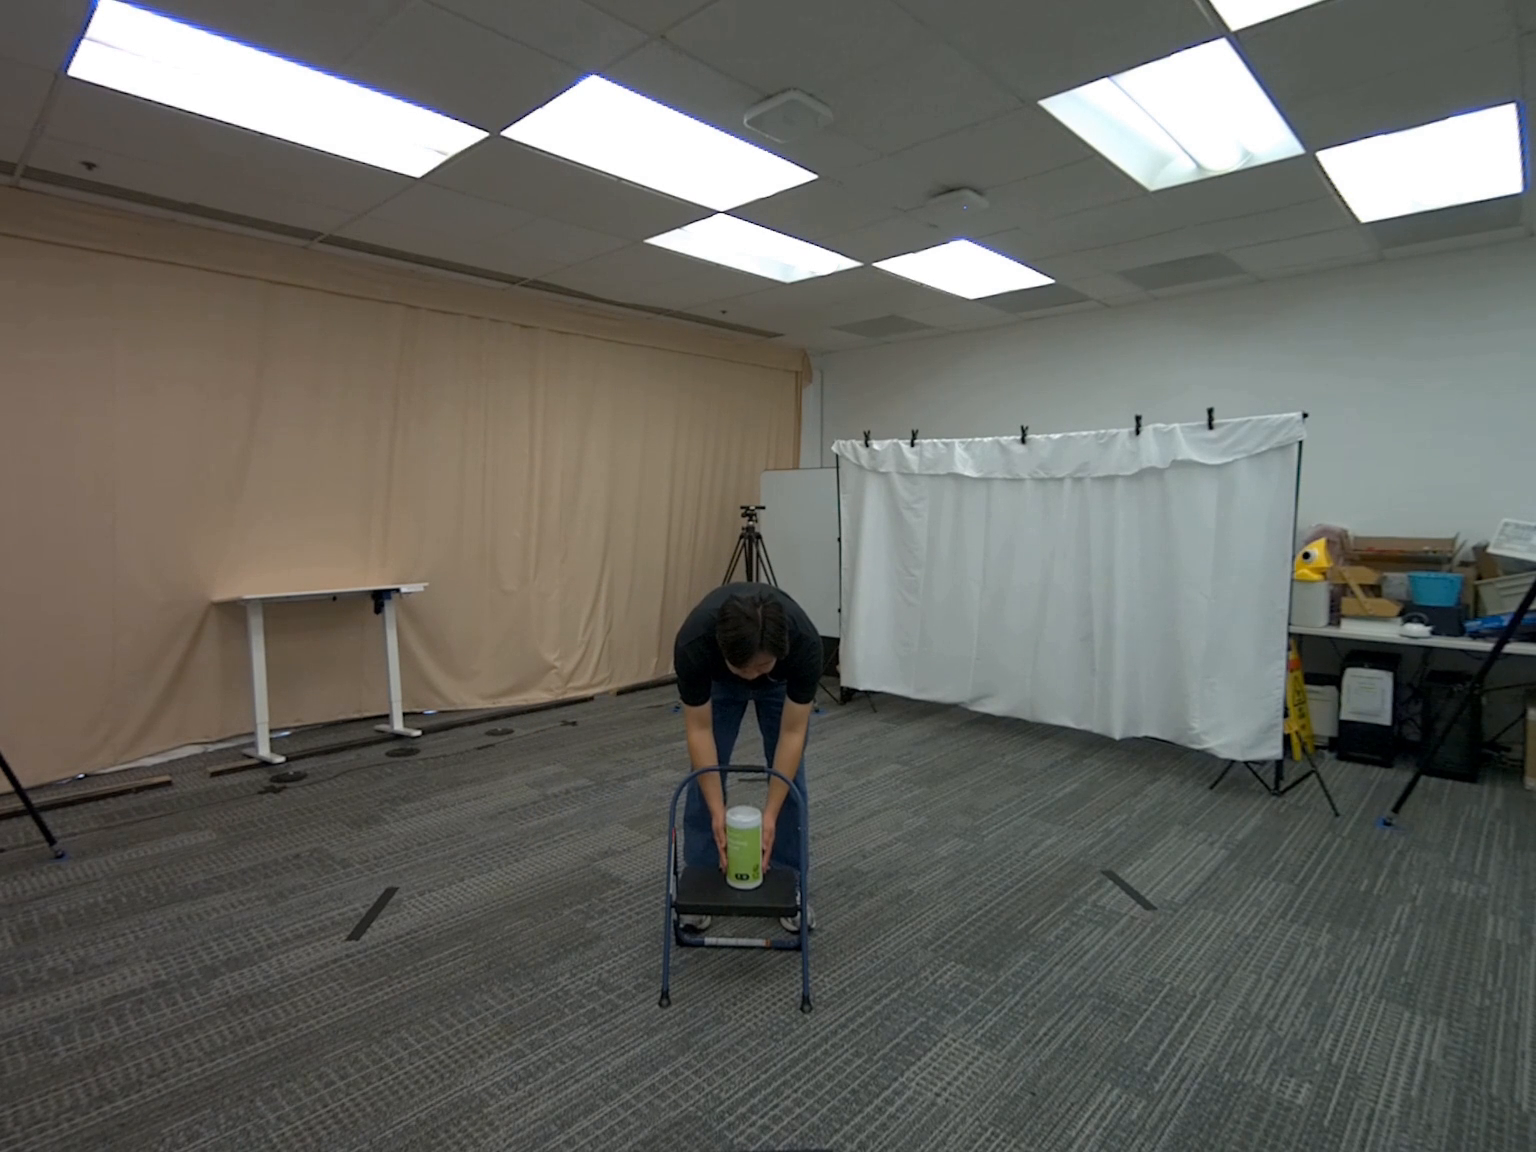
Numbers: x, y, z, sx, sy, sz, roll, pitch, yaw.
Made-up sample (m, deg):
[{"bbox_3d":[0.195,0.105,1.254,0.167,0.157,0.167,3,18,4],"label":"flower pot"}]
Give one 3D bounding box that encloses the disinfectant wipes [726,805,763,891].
[{"bbox_3d":[-0.064,0.809,2.531,0.118,0.217,0.118,0,5,-2],"label":"disinfectant wipes"}]
